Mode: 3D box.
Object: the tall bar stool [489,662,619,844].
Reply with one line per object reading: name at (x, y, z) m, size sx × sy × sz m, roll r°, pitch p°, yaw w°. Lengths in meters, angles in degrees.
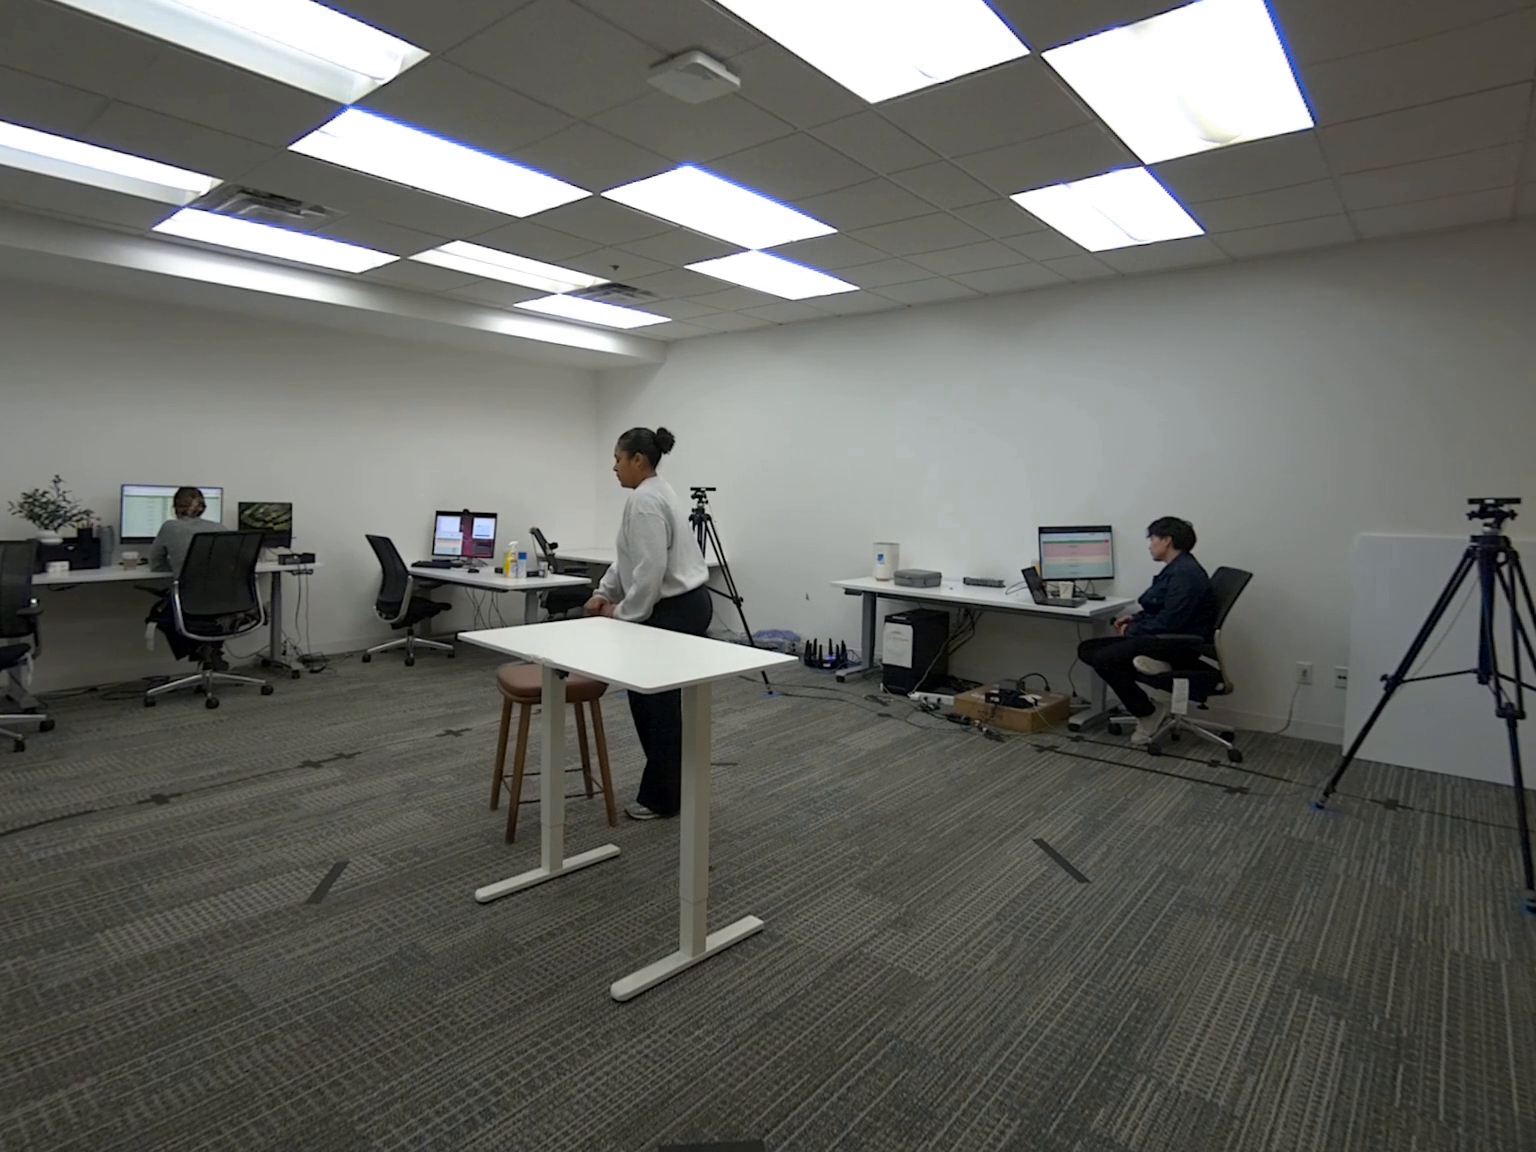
tall bar stool at (-0.900, 0.576, 3.552) m, size 0.455 × 0.889 × 0.469 m, roll 3°, pitch 1°, yaw -27°
